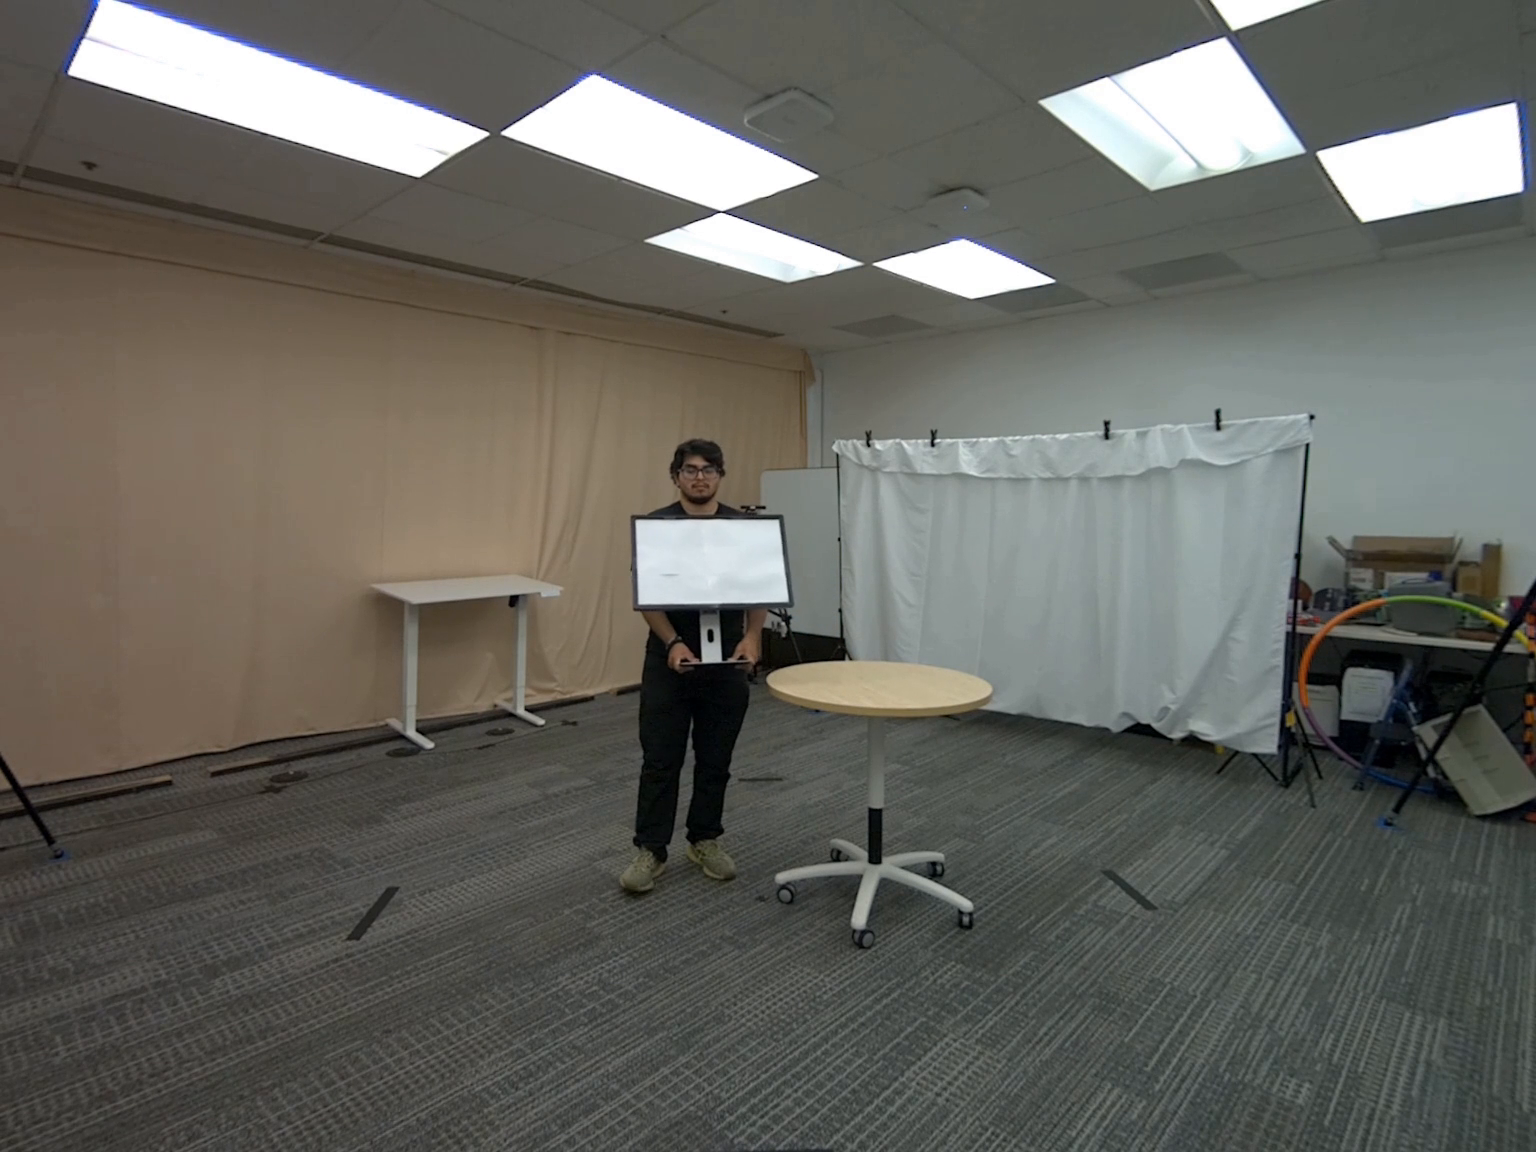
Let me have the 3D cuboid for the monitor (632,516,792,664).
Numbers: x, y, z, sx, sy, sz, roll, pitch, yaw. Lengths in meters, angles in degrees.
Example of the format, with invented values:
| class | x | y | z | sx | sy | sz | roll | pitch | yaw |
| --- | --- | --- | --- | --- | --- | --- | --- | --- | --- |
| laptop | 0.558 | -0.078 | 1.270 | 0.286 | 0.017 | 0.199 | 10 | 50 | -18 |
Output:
| class | x | y | z | sx | sy | sz | roll | pitch | yaw |
| --- | --- | --- | --- | --- | --- | --- | --- | --- | --- |
| monitor | -0.193 | 0.060 | 3.016 | 0.560 | 0.561 | 0.209 | -2 | -19 | -10 |
